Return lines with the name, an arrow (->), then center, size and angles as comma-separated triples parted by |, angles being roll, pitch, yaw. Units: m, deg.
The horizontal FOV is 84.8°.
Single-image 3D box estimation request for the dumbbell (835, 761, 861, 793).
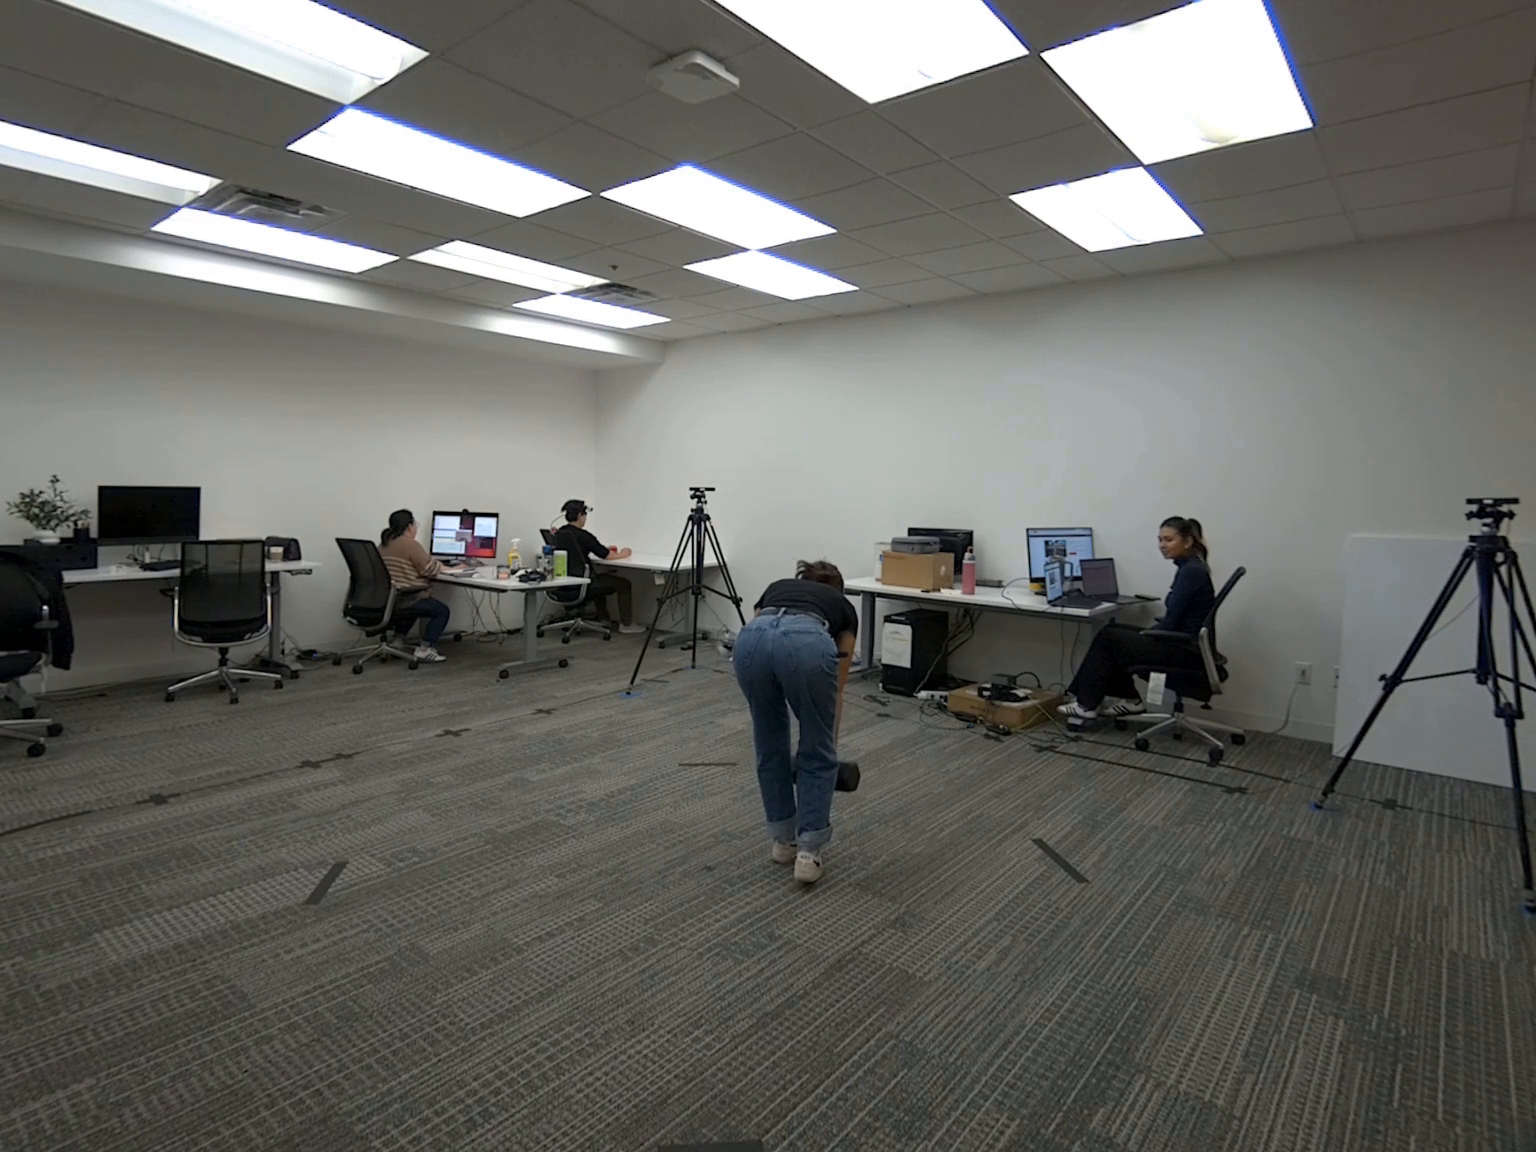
dumbbell -> 0.194, 0.755, 3.269 | 0.302, 0.124, 0.104 | -1, -39, 38
